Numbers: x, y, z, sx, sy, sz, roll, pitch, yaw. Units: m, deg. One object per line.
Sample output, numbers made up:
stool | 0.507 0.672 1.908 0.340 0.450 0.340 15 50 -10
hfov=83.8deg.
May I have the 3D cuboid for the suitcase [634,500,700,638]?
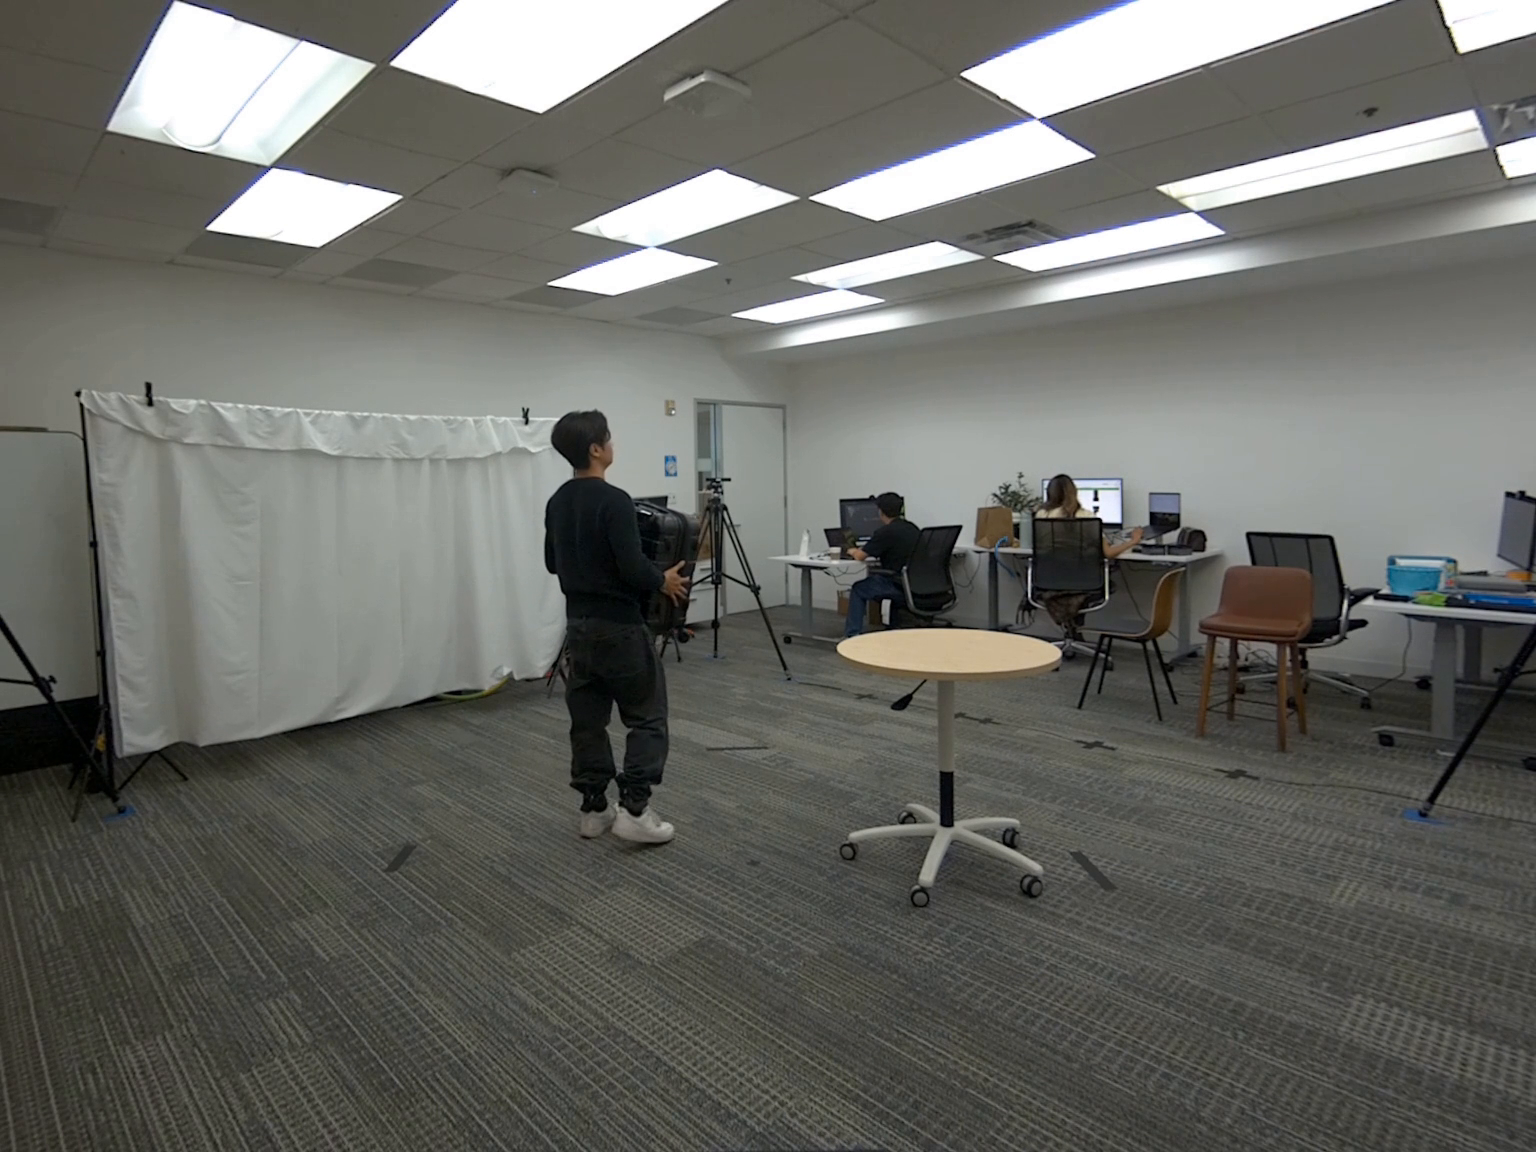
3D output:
suitcase | -0.503 -0.027 3.581 0.388 0.547 0.241 14 8 38
